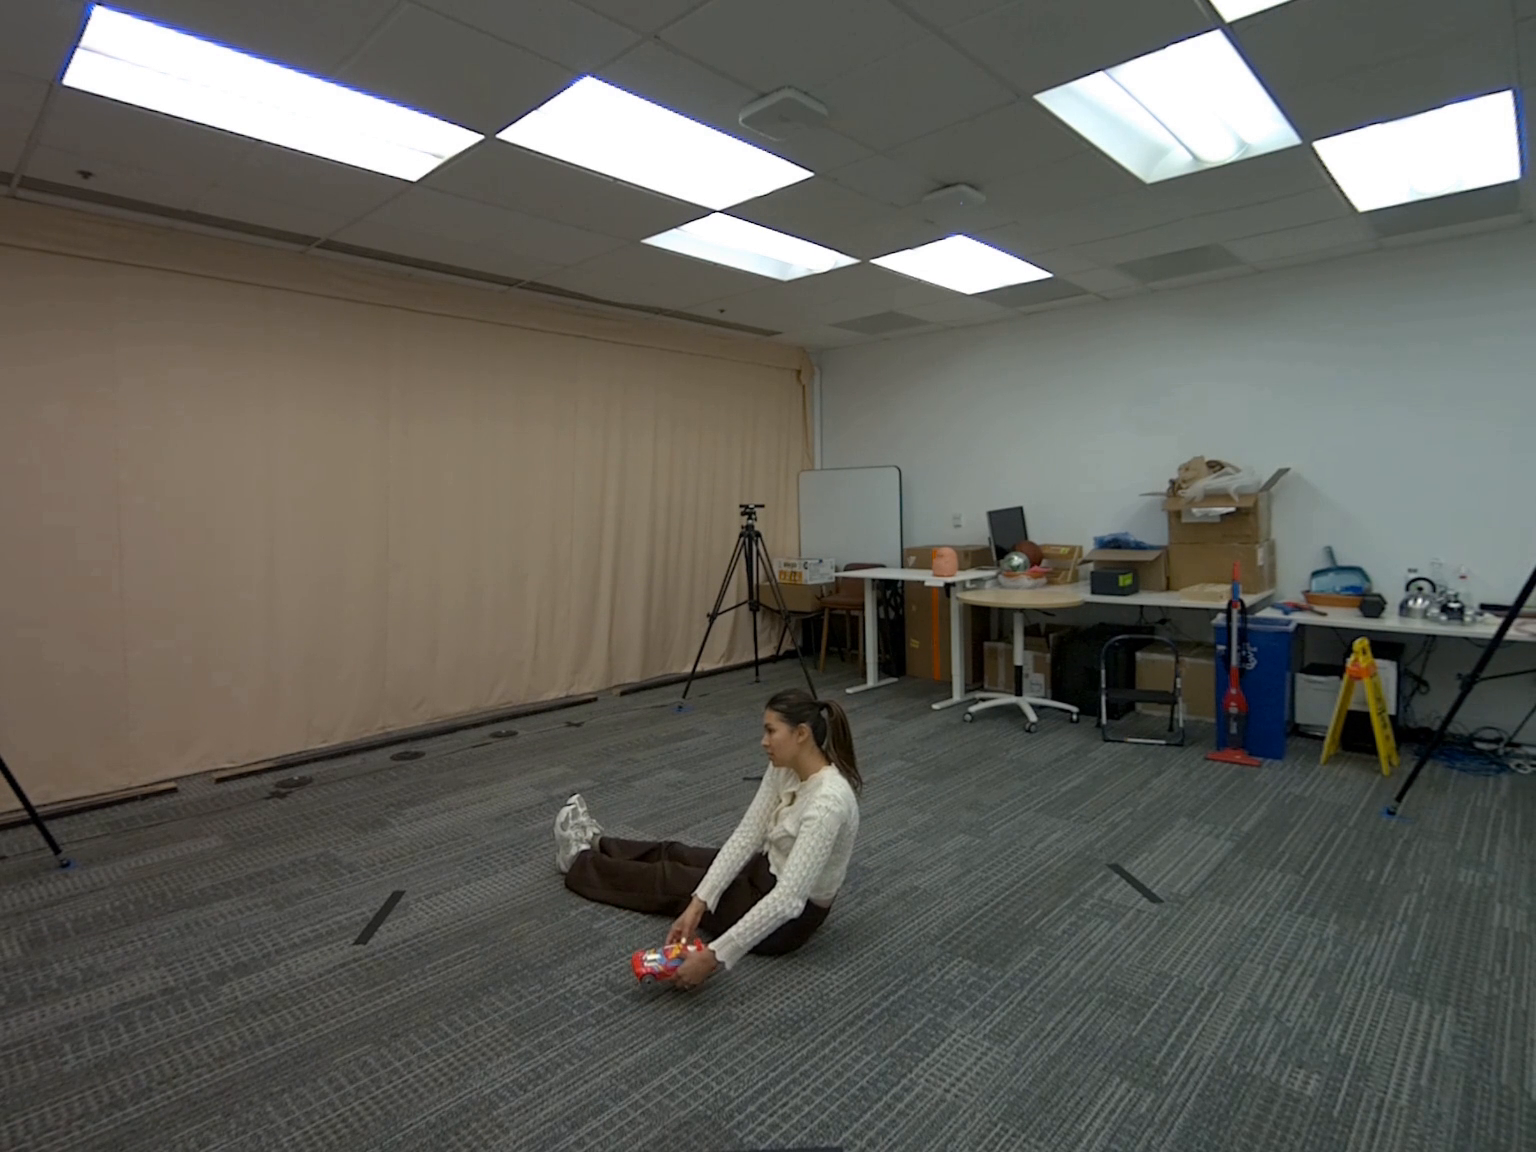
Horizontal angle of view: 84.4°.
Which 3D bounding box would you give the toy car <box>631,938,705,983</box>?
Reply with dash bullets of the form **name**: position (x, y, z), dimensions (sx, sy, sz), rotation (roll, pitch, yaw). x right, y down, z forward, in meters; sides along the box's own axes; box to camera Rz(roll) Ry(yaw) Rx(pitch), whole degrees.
- **toy car**: position (-0.265, 1.112, 2.409), dimensions (0.251, 0.082, 0.133), rotation (-10, 12, -16)
